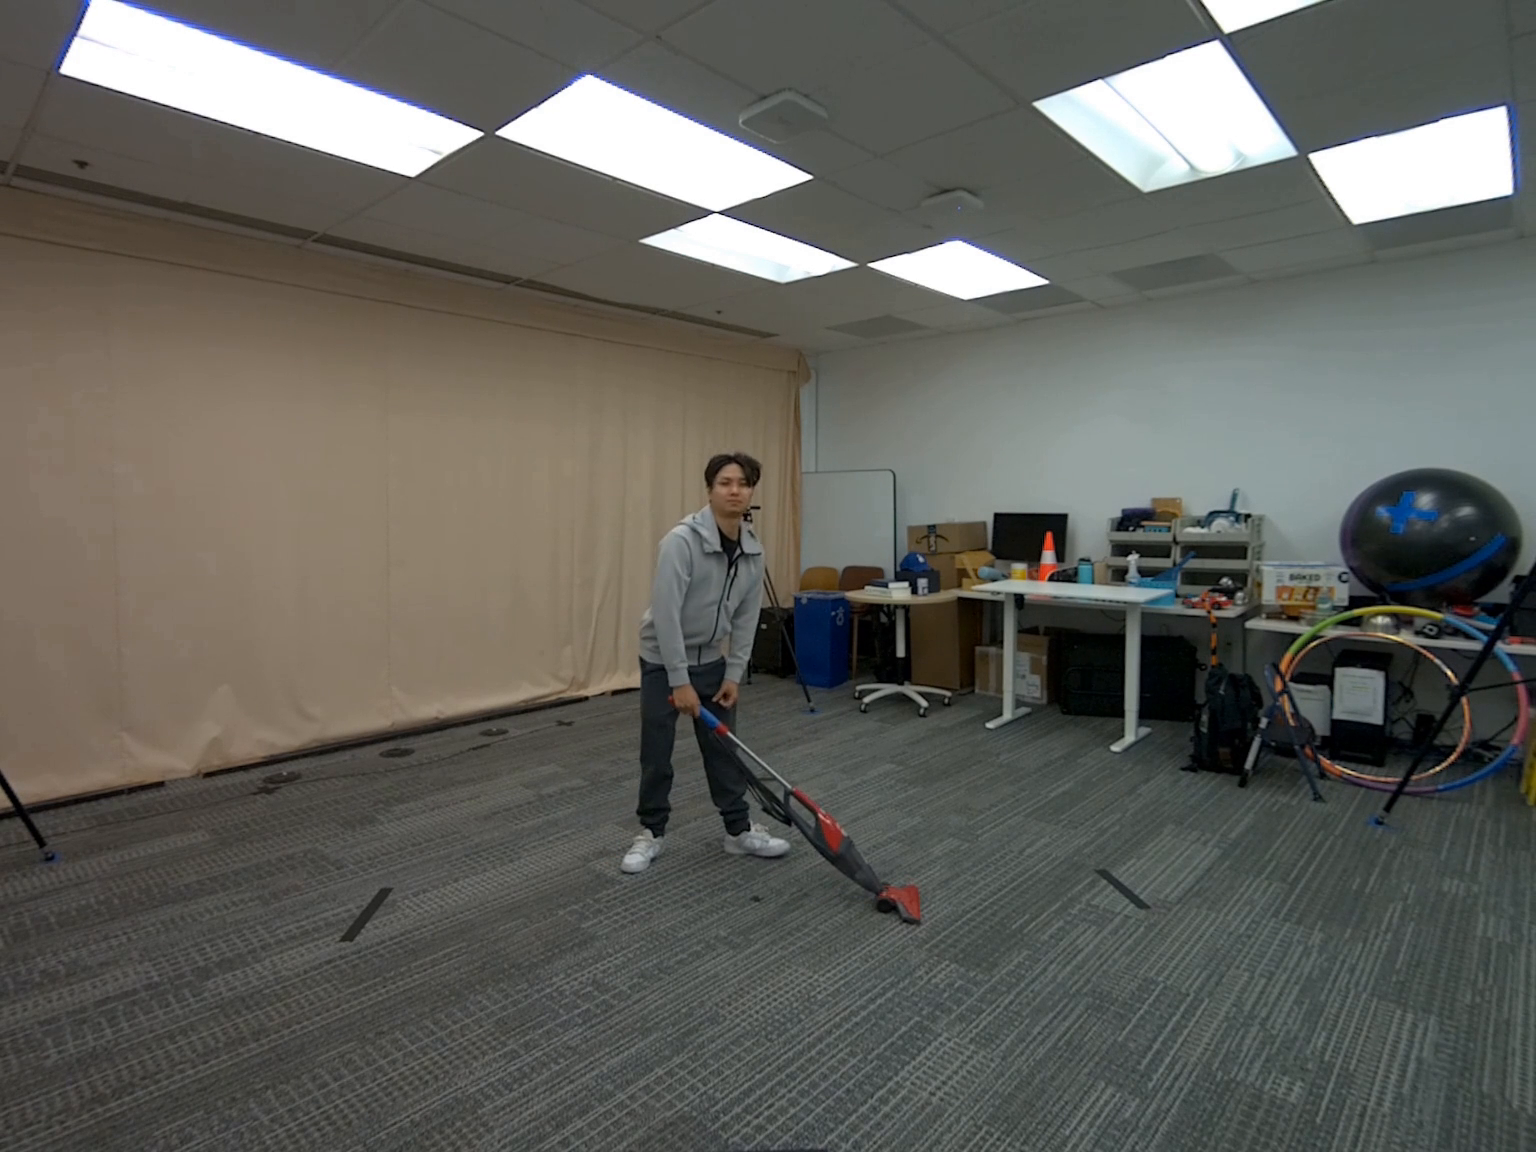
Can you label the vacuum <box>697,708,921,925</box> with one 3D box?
[{"bbox_3d":[0.078,0.800,2.999,1.060,0.144,0.249,41,13,8],"label":"vacuum"}]
